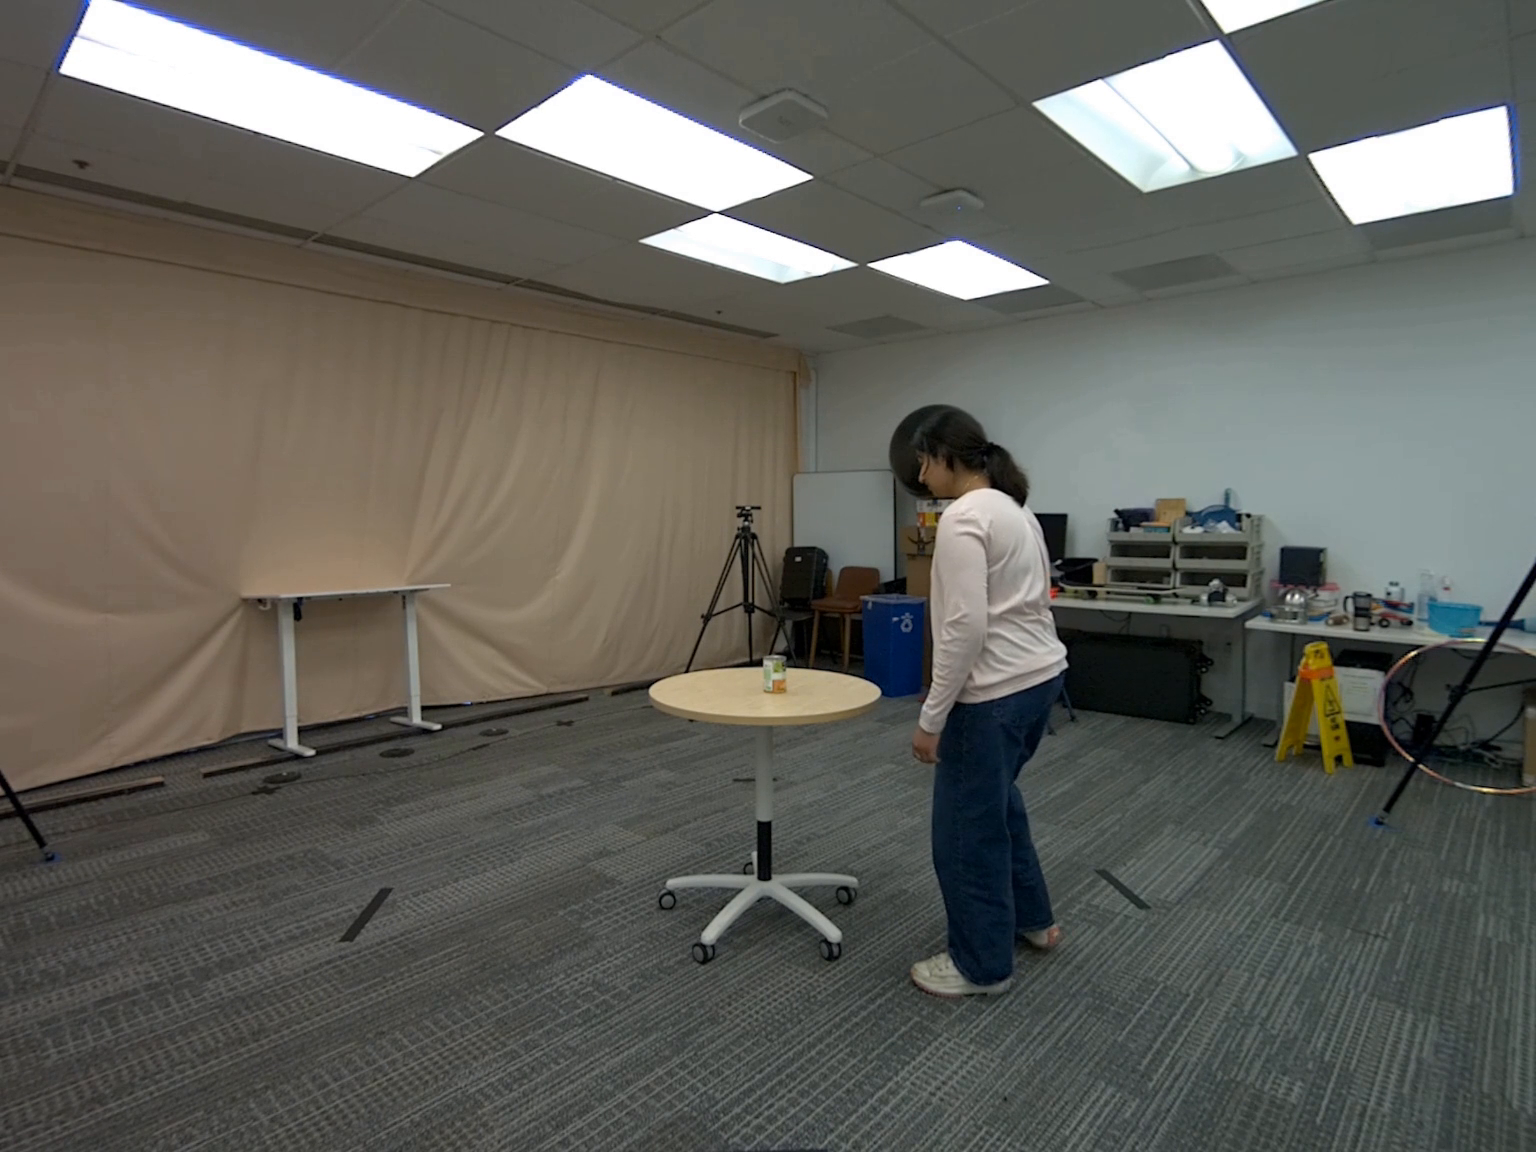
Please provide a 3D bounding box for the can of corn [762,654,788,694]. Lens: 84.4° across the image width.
[{"bbox_3d":[0.026,0.325,2.751,0.074,0.111,0.074,0,3,-2],"label":"can of corn"}]
